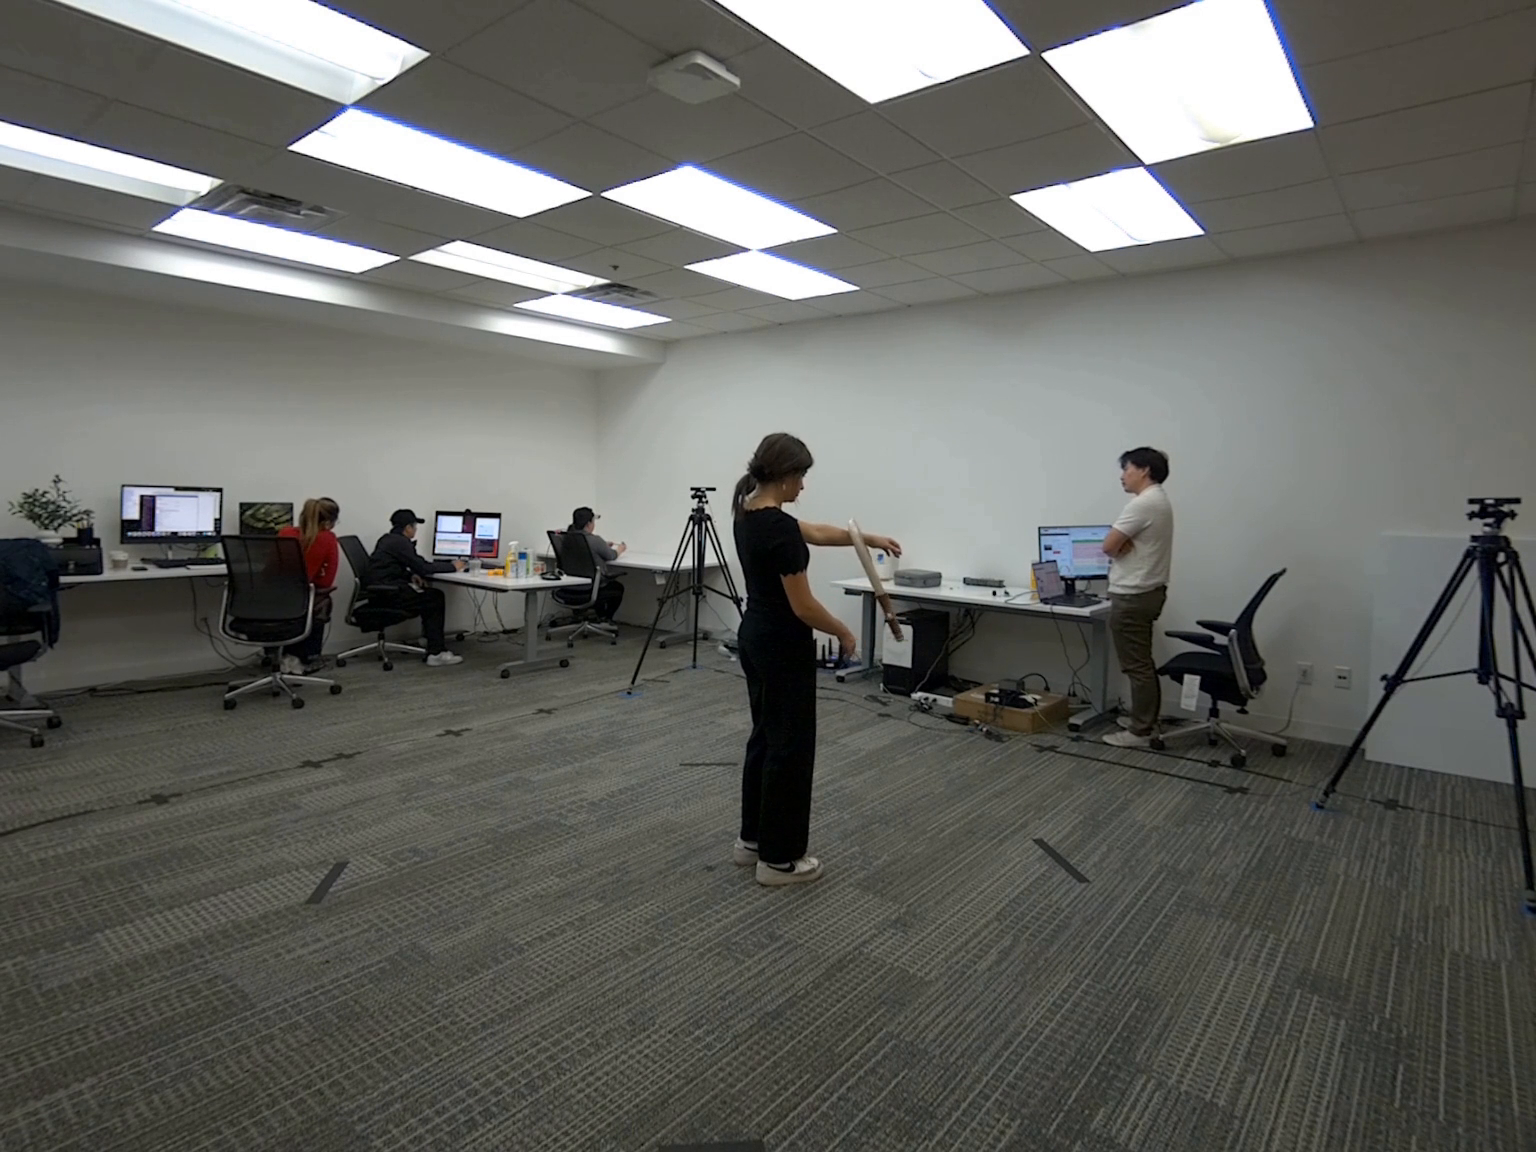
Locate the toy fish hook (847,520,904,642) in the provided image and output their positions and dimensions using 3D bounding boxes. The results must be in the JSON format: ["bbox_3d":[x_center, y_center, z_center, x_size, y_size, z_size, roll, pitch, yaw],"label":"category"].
[{"bbox_3d":[0.409,0.014,3.323,0.049,0.506,0.222,-21,1,15],"label":"toy fish hook"}]
